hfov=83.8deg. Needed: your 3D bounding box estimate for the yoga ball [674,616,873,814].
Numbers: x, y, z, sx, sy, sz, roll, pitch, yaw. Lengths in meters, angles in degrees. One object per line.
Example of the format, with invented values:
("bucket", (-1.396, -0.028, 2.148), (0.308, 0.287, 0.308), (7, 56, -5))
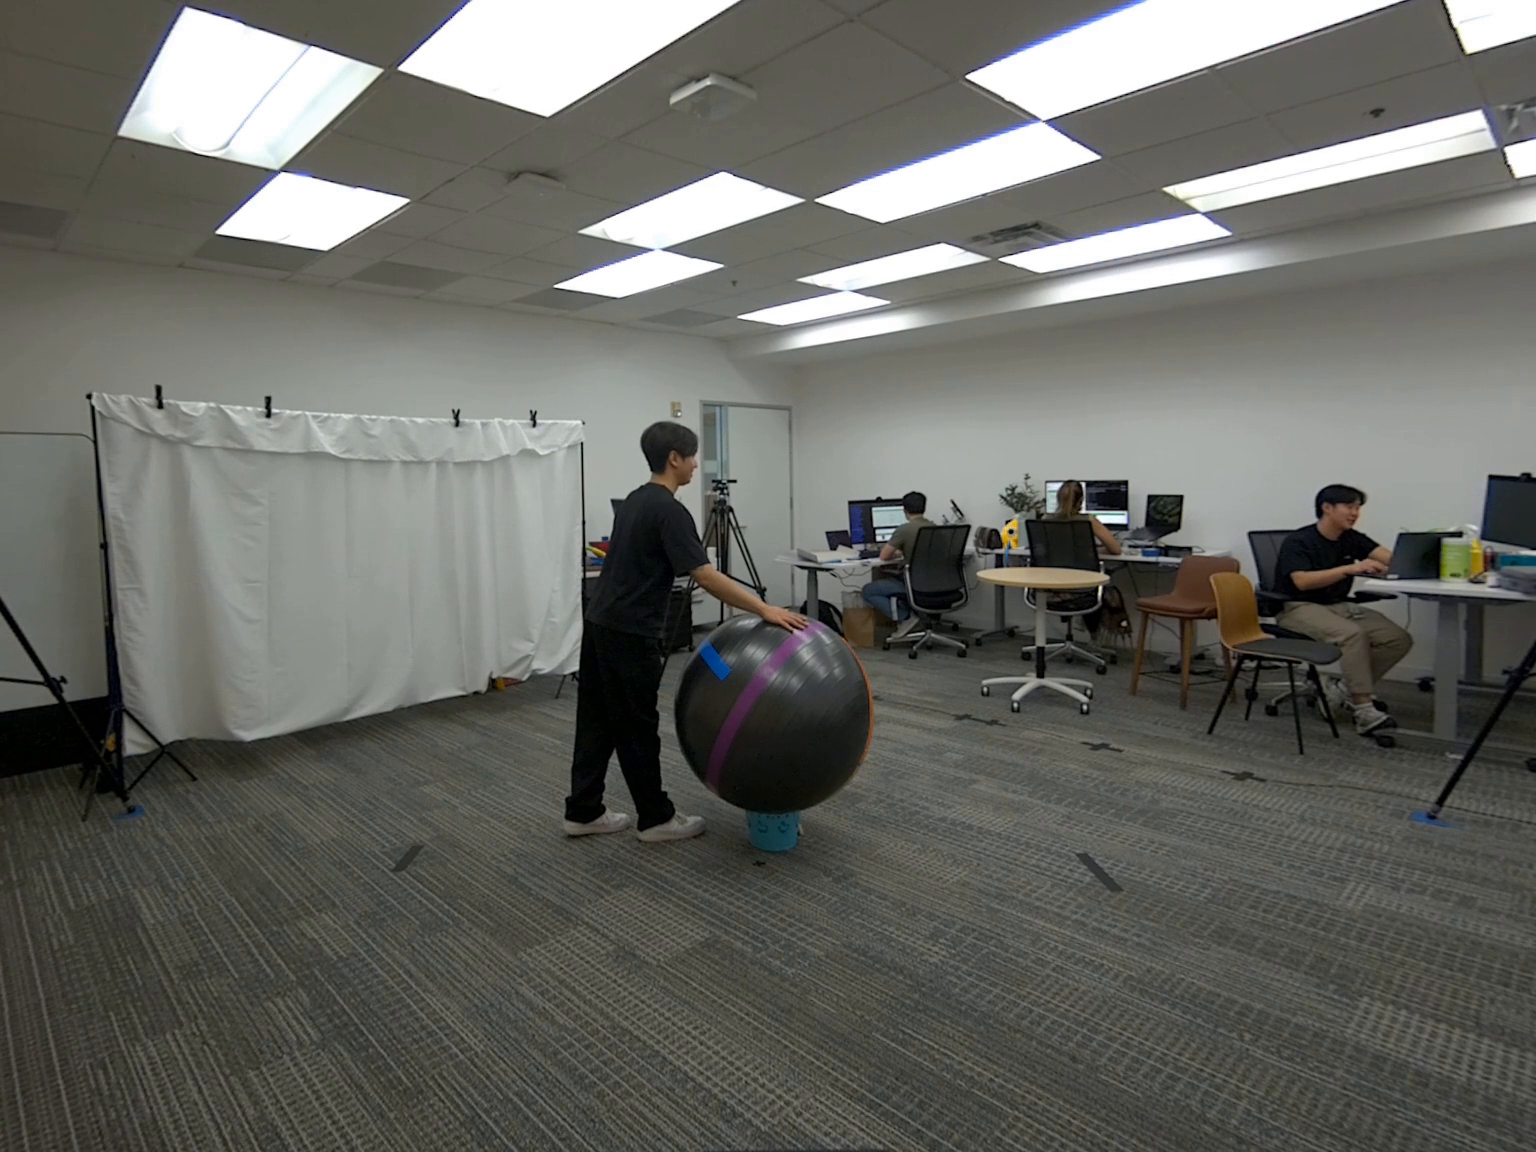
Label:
("yoga ball", (0.026, 0.516, 3.273), (0.757, 0.755, 0.762), (-1, 5, -2))
